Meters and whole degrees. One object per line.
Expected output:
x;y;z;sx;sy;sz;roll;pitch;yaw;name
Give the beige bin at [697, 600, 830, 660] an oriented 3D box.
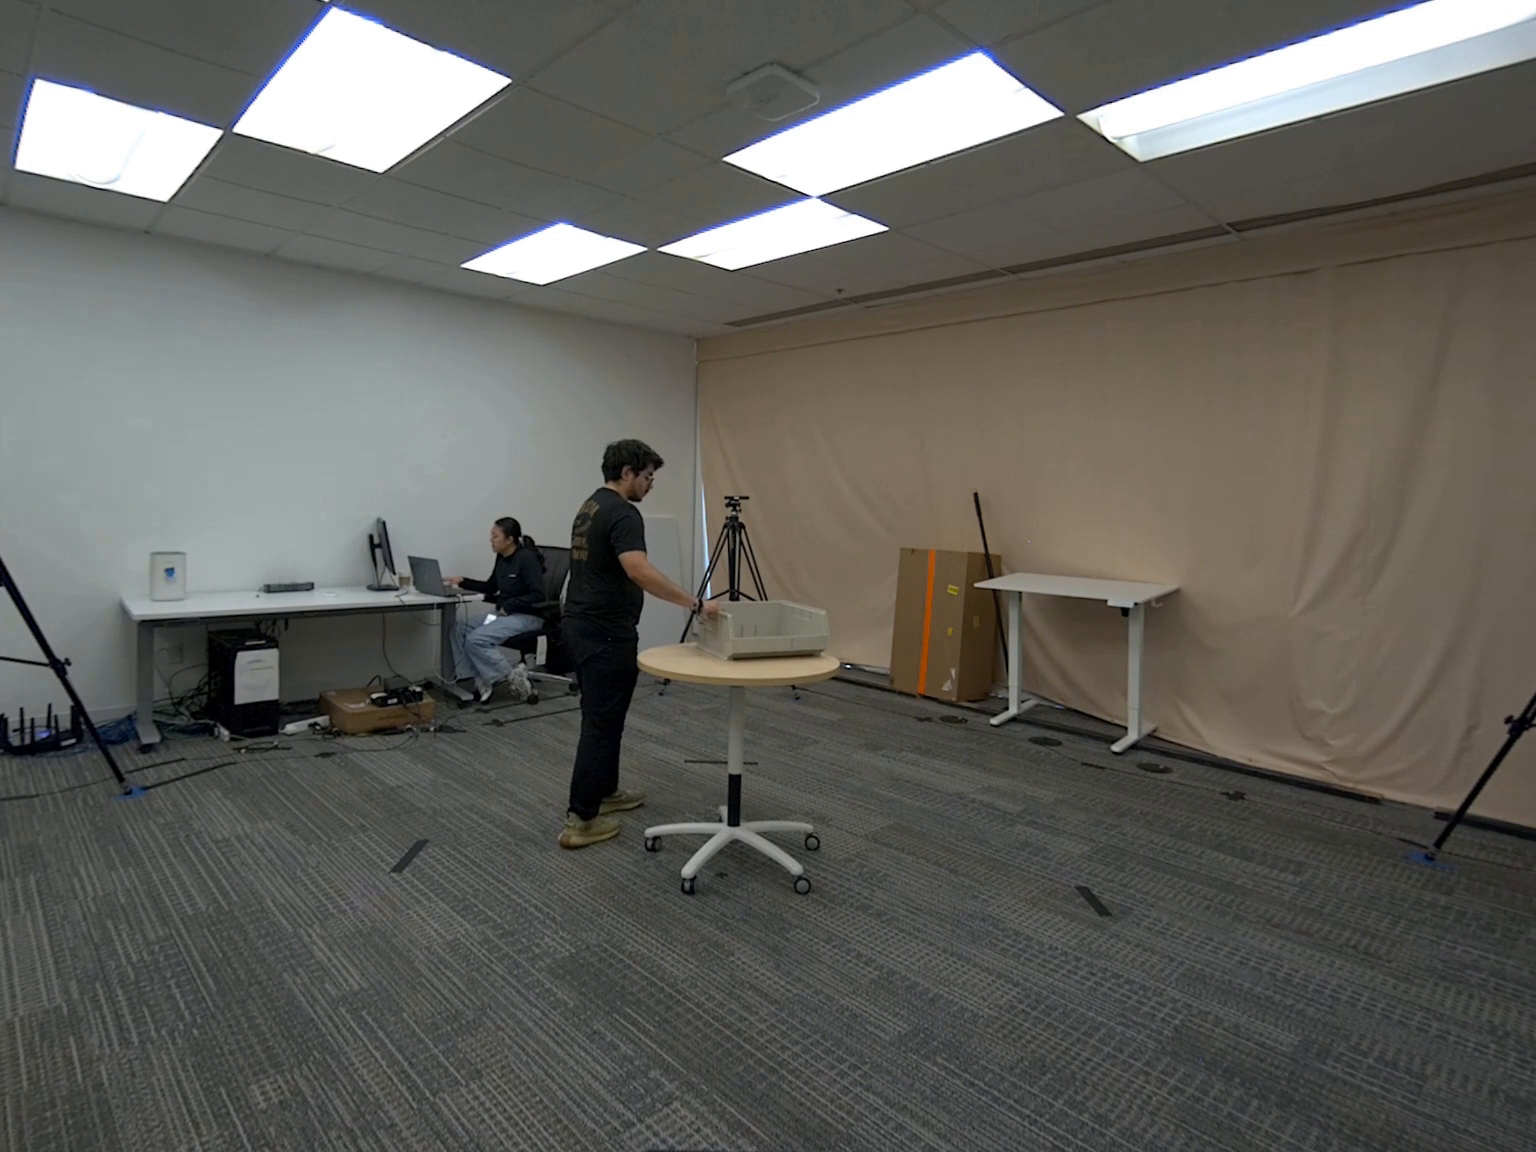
-0.044;0.211;3.334;0.415;0.188;0.385;-2;4;-25;beige bin
